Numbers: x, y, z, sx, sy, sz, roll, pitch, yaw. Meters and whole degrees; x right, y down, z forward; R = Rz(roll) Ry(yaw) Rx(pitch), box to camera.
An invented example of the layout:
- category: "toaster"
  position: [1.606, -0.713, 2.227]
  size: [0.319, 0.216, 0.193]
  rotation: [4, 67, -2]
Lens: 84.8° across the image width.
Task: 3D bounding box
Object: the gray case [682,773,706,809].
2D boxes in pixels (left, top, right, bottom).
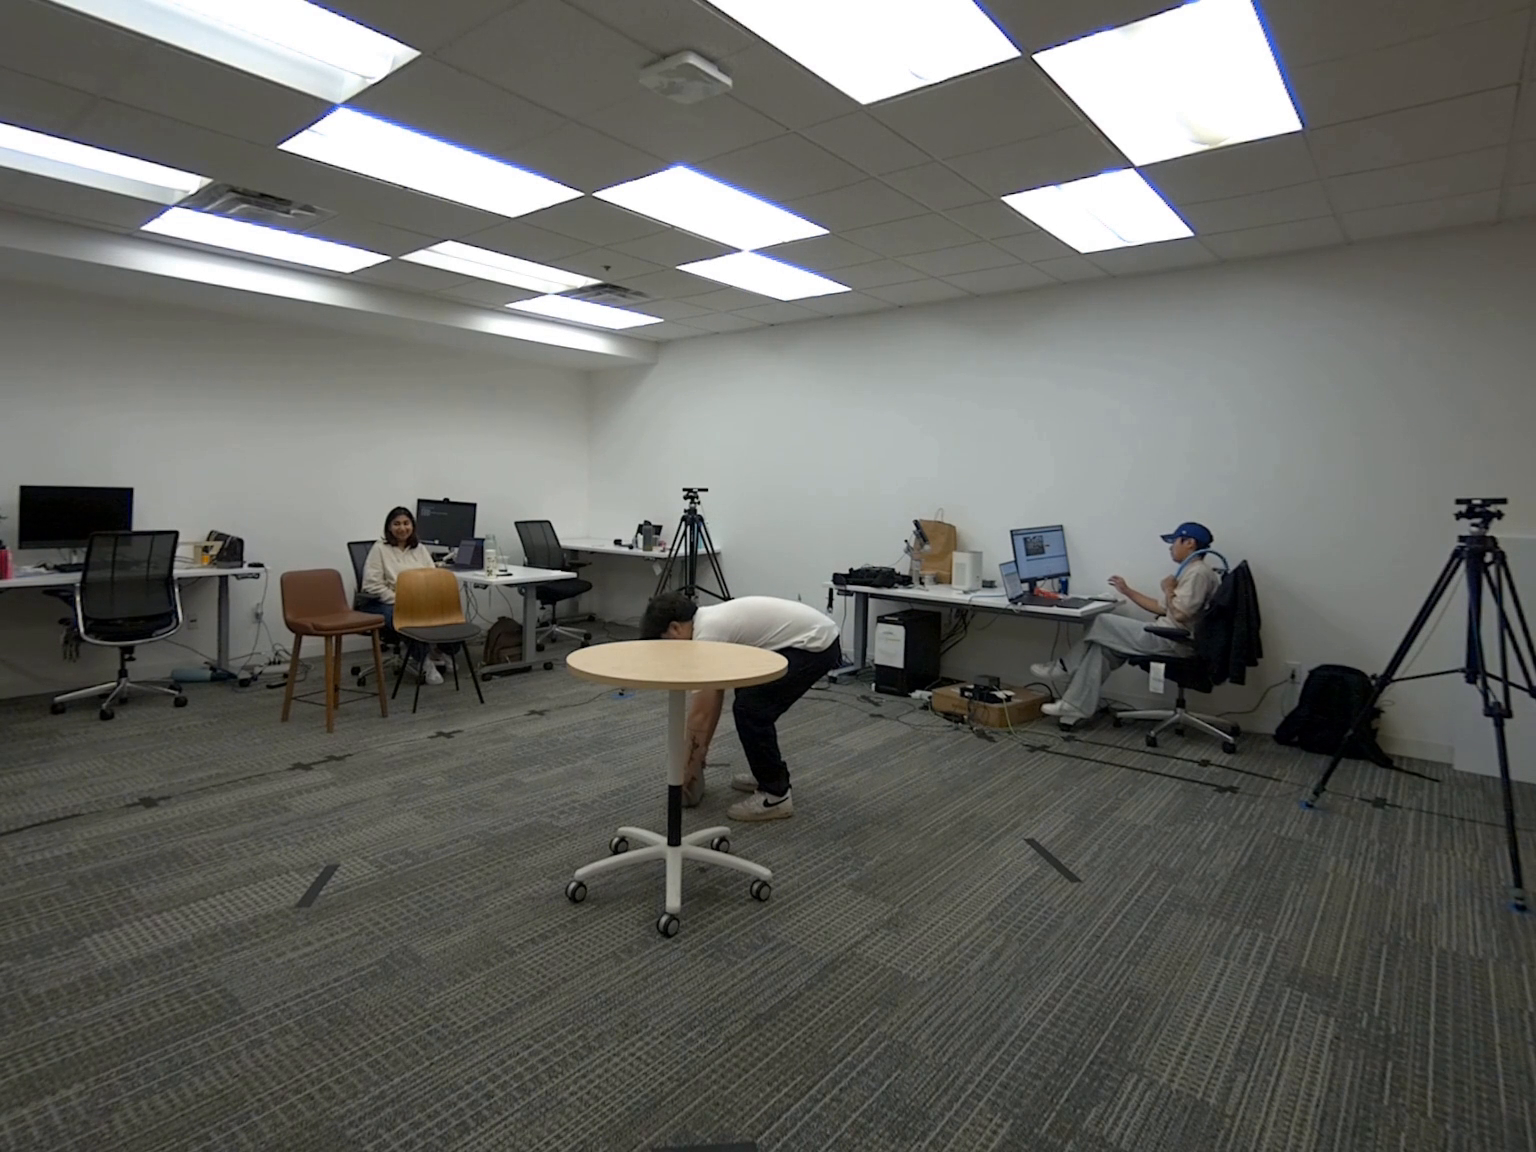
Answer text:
- category: "gray case"
  position: [-0.394, 0.872, 3.815]
  size: [0.105, 0.261, 0.255]
  rotation: [-9, 0, 6]
